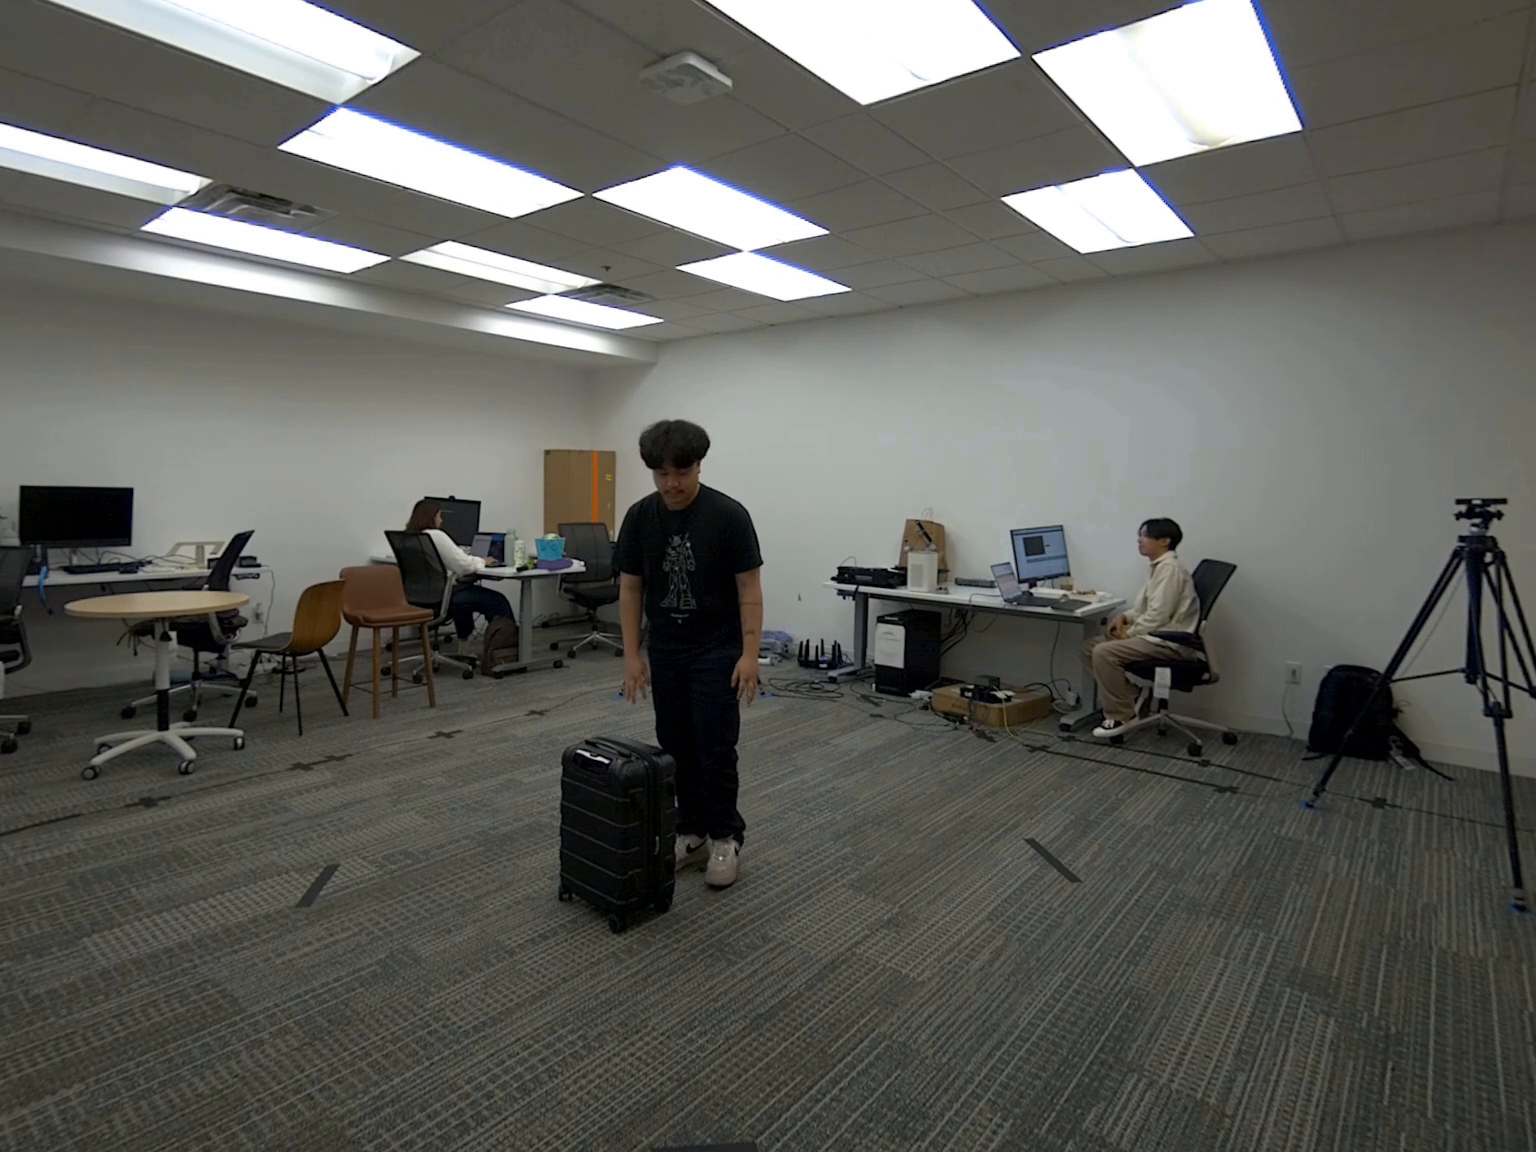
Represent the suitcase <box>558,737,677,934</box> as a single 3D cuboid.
[{"bbox_3d":[-0.512,0.817,2.806,0.388,0.548,0.241,5,5,42],"label":"suitcase"}]
